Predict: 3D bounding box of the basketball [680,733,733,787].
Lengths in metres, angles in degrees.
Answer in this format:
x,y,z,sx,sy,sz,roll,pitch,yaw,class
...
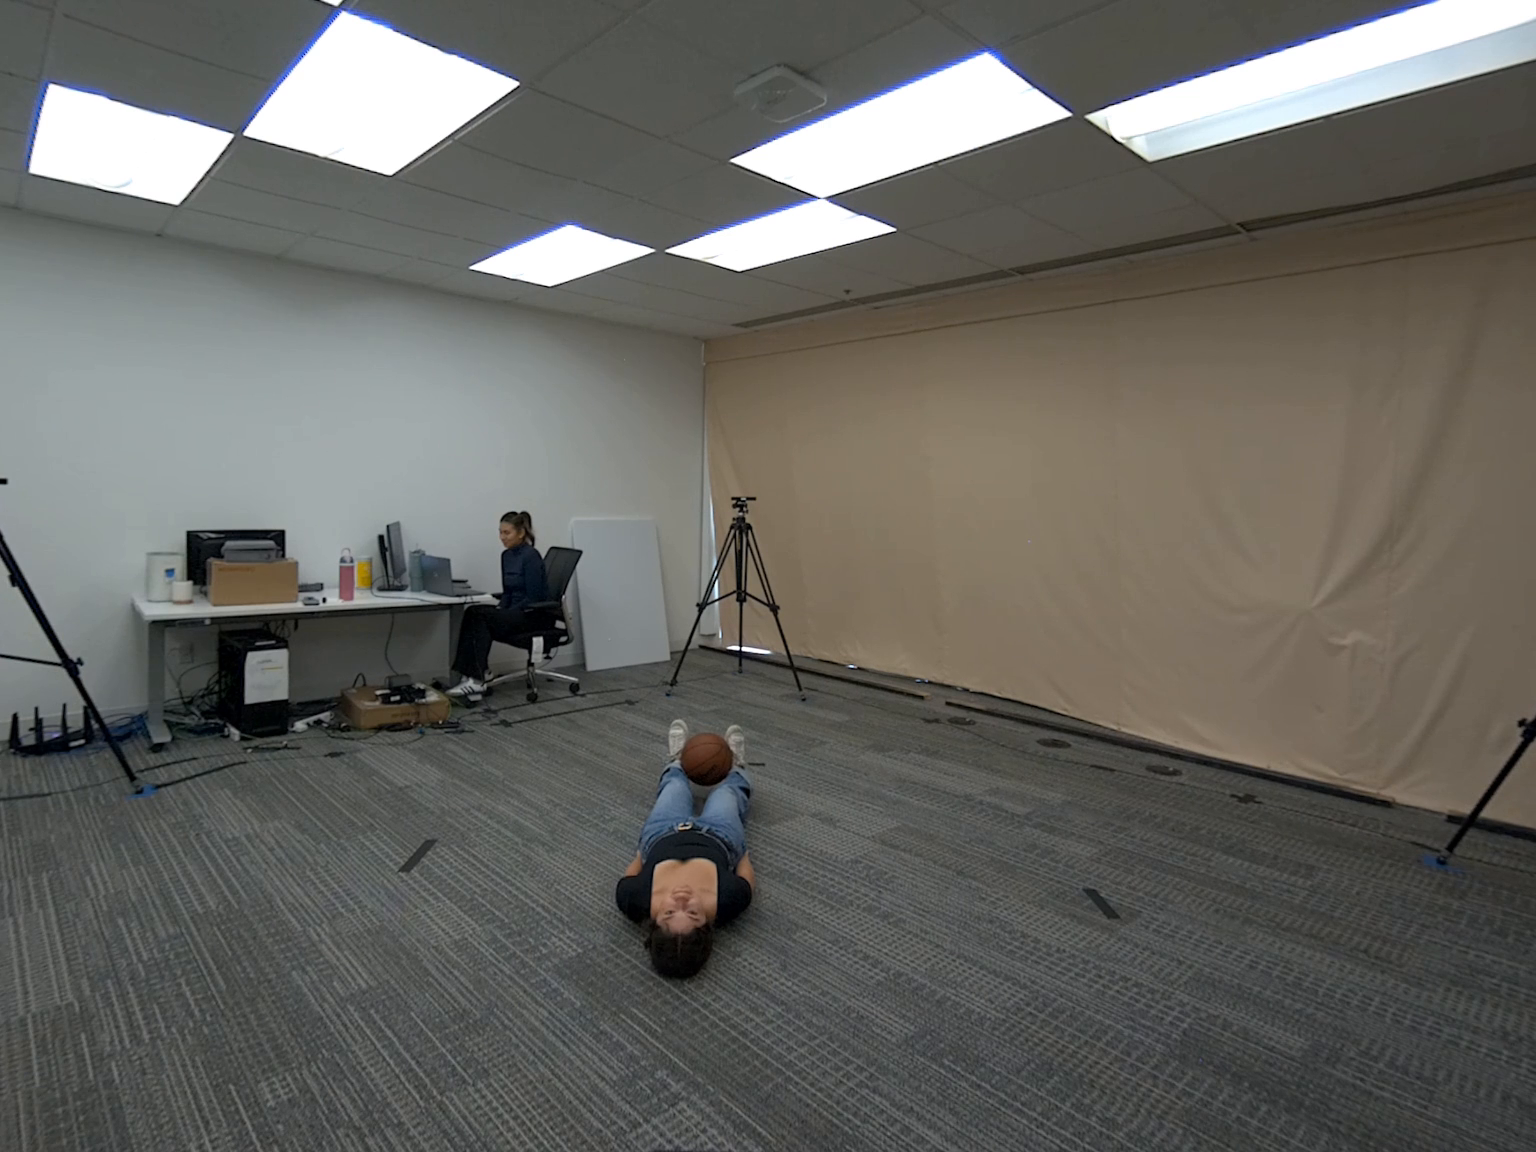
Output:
x,y,z,sx,sy,sz,roll,pitch,yaw,class
-0.292,0.837,3.866,0.236,0.235,0.237,1,4,-1,basketball
